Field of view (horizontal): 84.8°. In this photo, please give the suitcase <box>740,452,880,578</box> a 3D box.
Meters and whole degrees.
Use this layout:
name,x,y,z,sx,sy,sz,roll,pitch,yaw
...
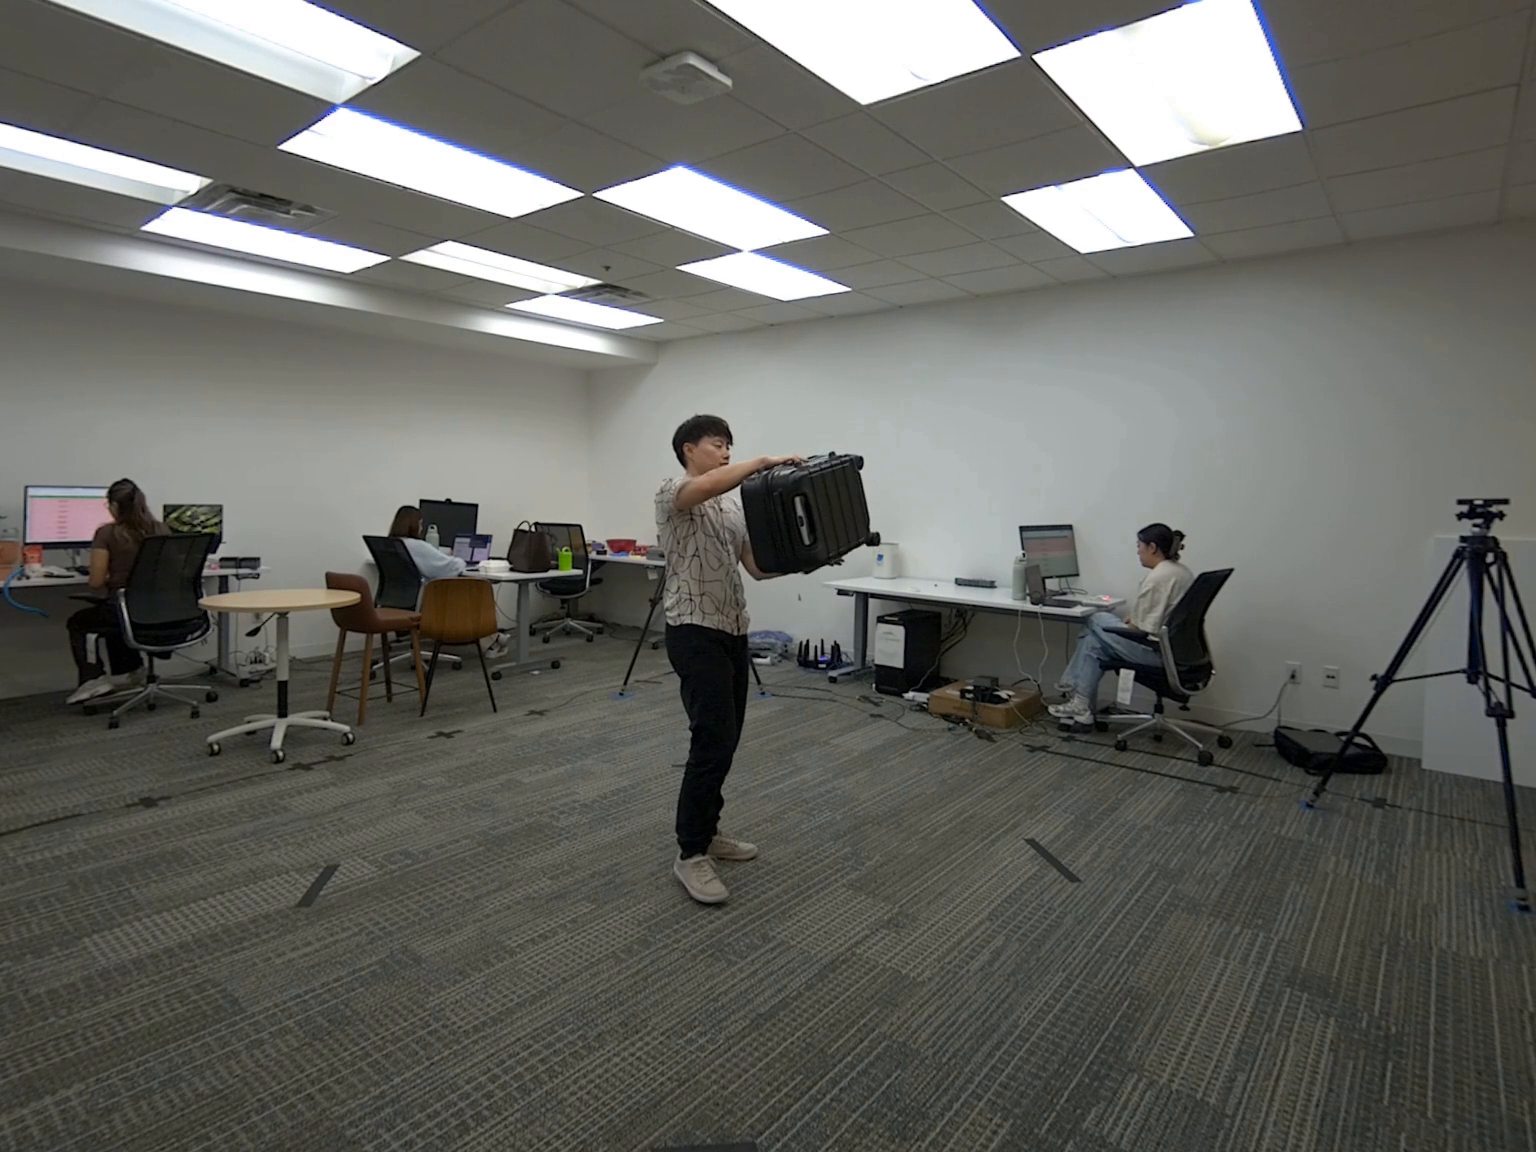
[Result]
name,x,y,z,sx,sy,sz,roll,pitch,yaw
suitcase,0.140,-0.223,3.002,0.255,0.373,0.539,-8,8,34
